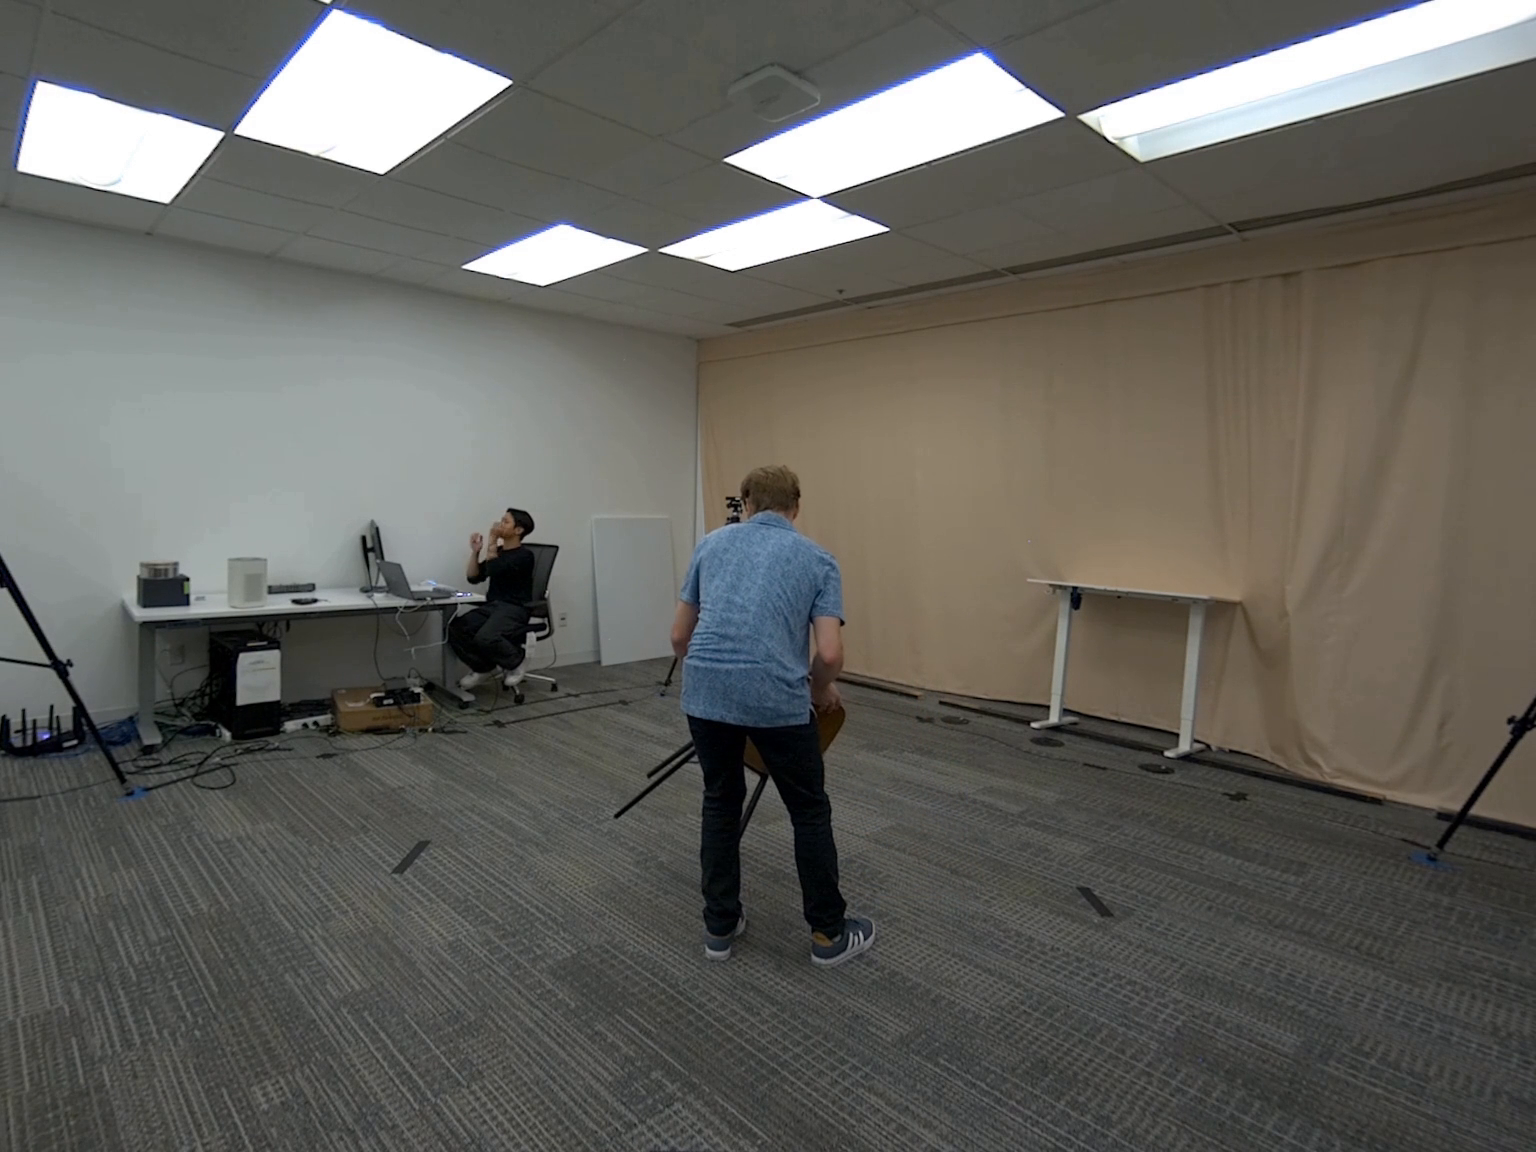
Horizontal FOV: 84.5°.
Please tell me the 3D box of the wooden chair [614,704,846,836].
[{"bbox_3d":[-0.089,0.638,3.107,0.481,0.876,0.521,37,12,5],"label":"wooden chair"}]
